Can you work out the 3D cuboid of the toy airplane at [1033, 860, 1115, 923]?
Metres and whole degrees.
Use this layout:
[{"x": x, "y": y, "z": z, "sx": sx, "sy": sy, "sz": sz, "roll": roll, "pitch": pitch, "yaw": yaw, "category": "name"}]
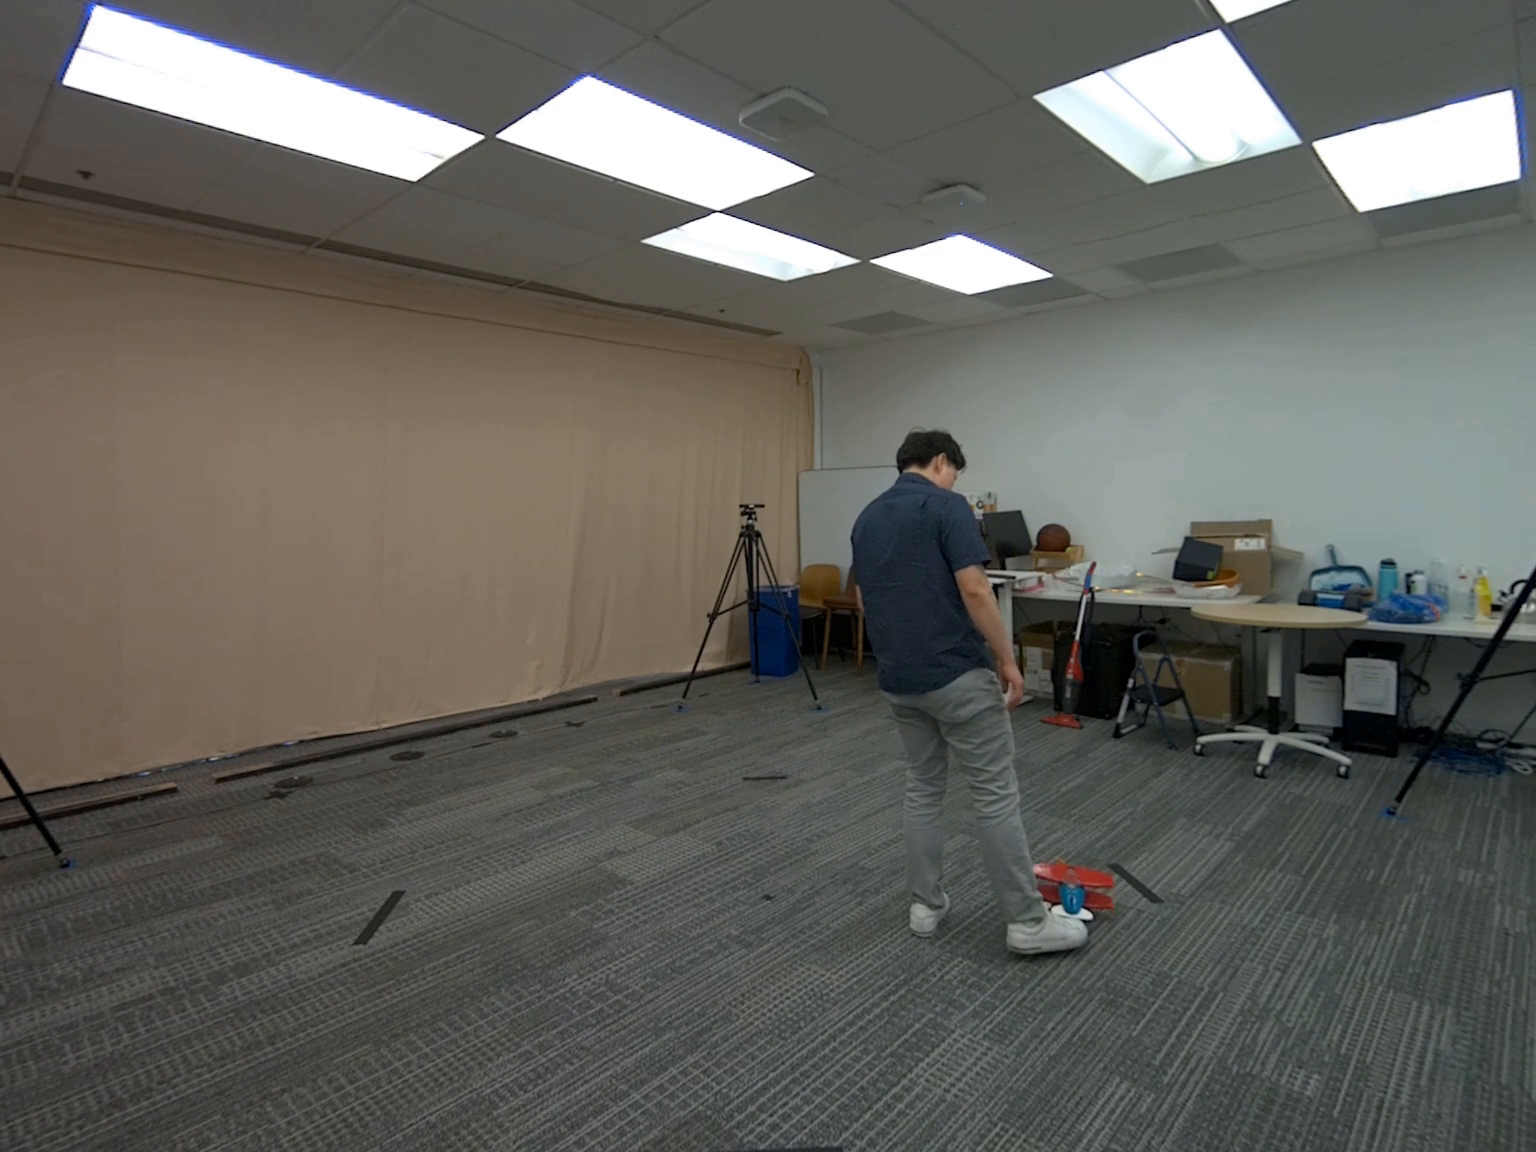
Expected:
[{"x": 1.028, "y": 1.062, "z": 2.771, "sx": 0.249, "sy": 0.156, "sz": 0.261, "roll": 2, "pitch": -2, "yaw": -9, "category": "toy airplane"}]
